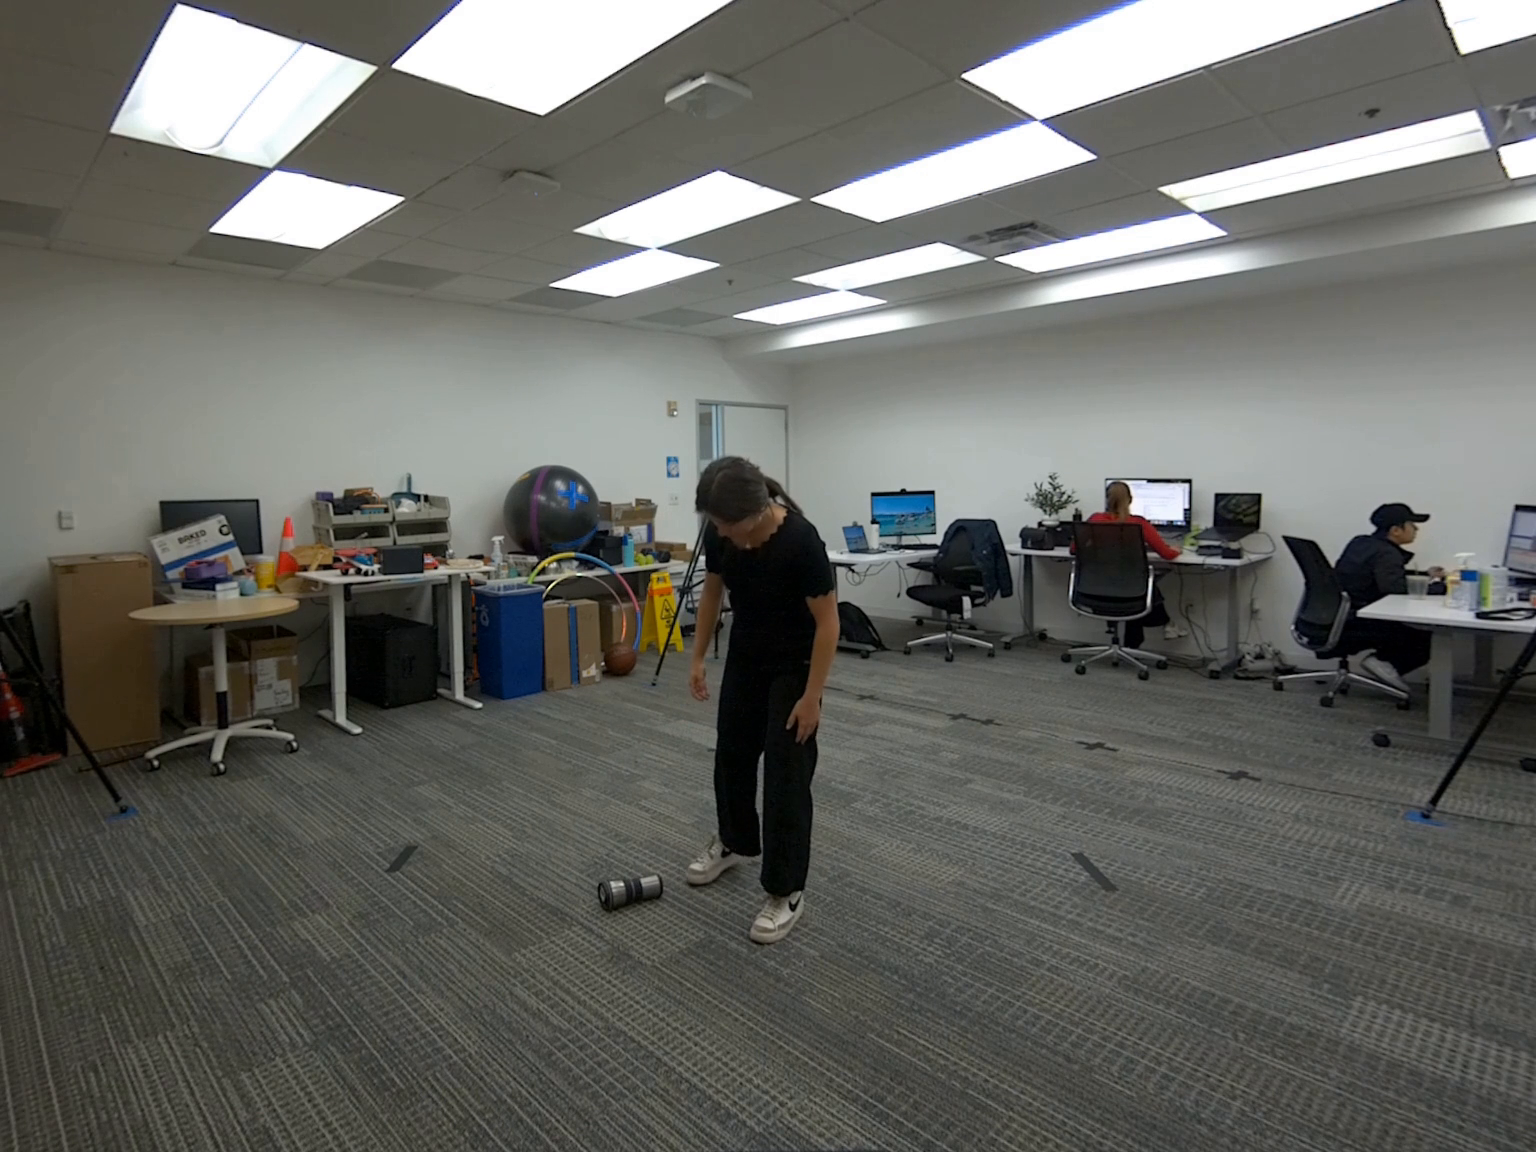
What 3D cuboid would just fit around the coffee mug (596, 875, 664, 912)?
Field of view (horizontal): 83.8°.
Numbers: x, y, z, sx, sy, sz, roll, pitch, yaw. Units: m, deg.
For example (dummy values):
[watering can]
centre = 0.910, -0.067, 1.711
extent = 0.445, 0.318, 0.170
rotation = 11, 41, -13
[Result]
[coffee mug]
centre = -0.459, 1.035, 2.848
extent = 0.198, 0.087, 0.126
rotation = -4, 17, -29
